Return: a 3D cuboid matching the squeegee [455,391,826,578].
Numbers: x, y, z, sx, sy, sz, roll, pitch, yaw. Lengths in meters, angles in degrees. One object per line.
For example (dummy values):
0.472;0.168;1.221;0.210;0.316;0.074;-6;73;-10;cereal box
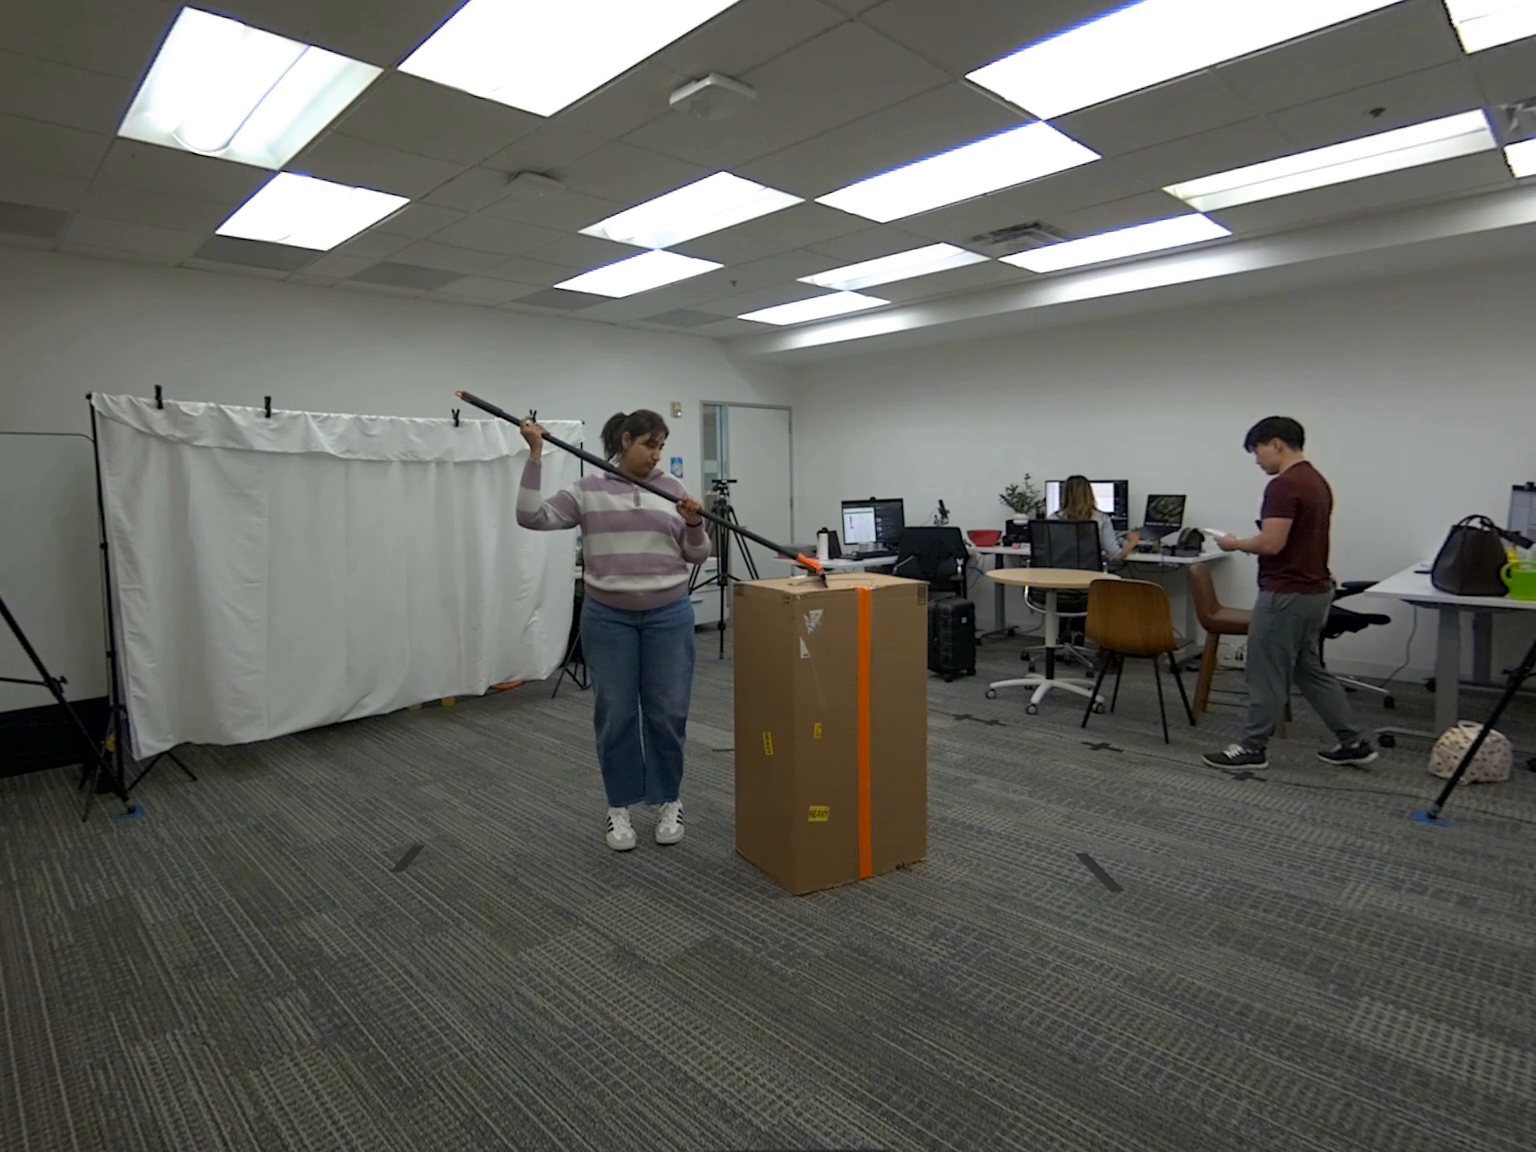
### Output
-0.476;-0.338;3.131;1.546;0.053;0.435;28;2;4;squeegee
